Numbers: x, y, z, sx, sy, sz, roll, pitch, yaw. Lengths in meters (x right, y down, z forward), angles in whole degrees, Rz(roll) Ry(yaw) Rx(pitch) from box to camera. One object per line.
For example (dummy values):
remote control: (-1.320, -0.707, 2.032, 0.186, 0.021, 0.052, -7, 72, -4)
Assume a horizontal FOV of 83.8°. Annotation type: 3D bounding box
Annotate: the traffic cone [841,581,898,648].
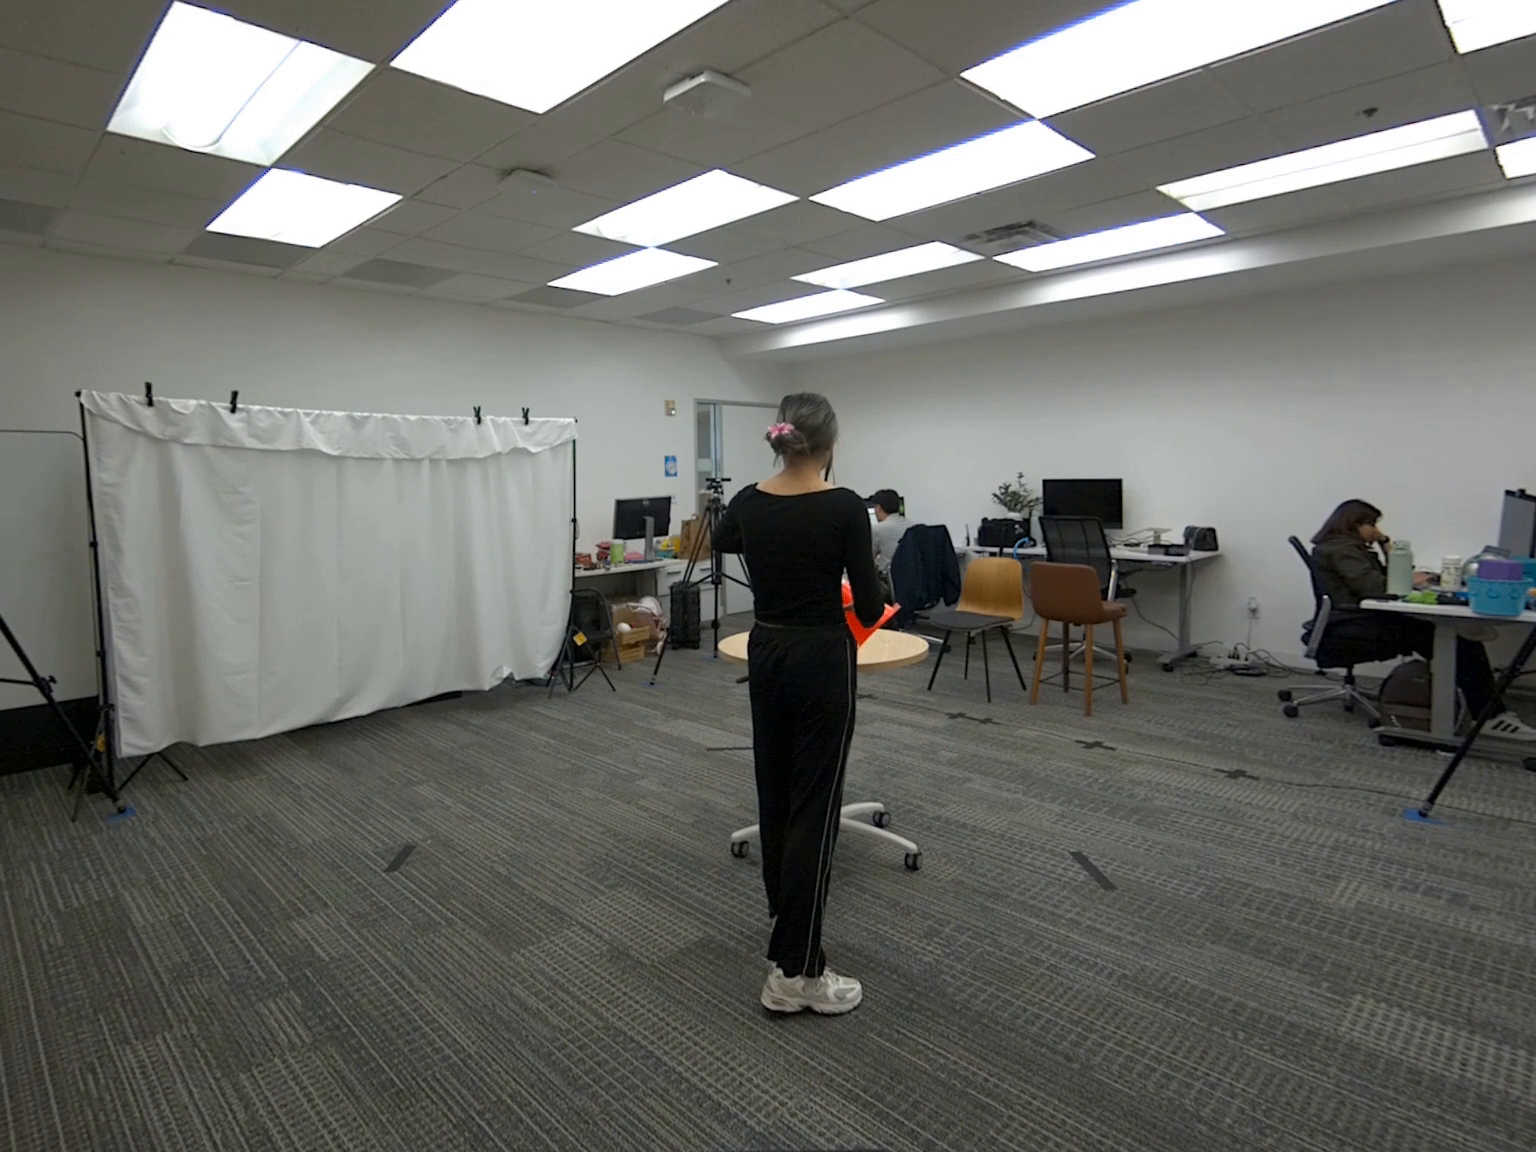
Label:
traffic cone: (0.209, 0.036, 2.676, 0.389, 0.205, 0.201, 43, 5, 9)
